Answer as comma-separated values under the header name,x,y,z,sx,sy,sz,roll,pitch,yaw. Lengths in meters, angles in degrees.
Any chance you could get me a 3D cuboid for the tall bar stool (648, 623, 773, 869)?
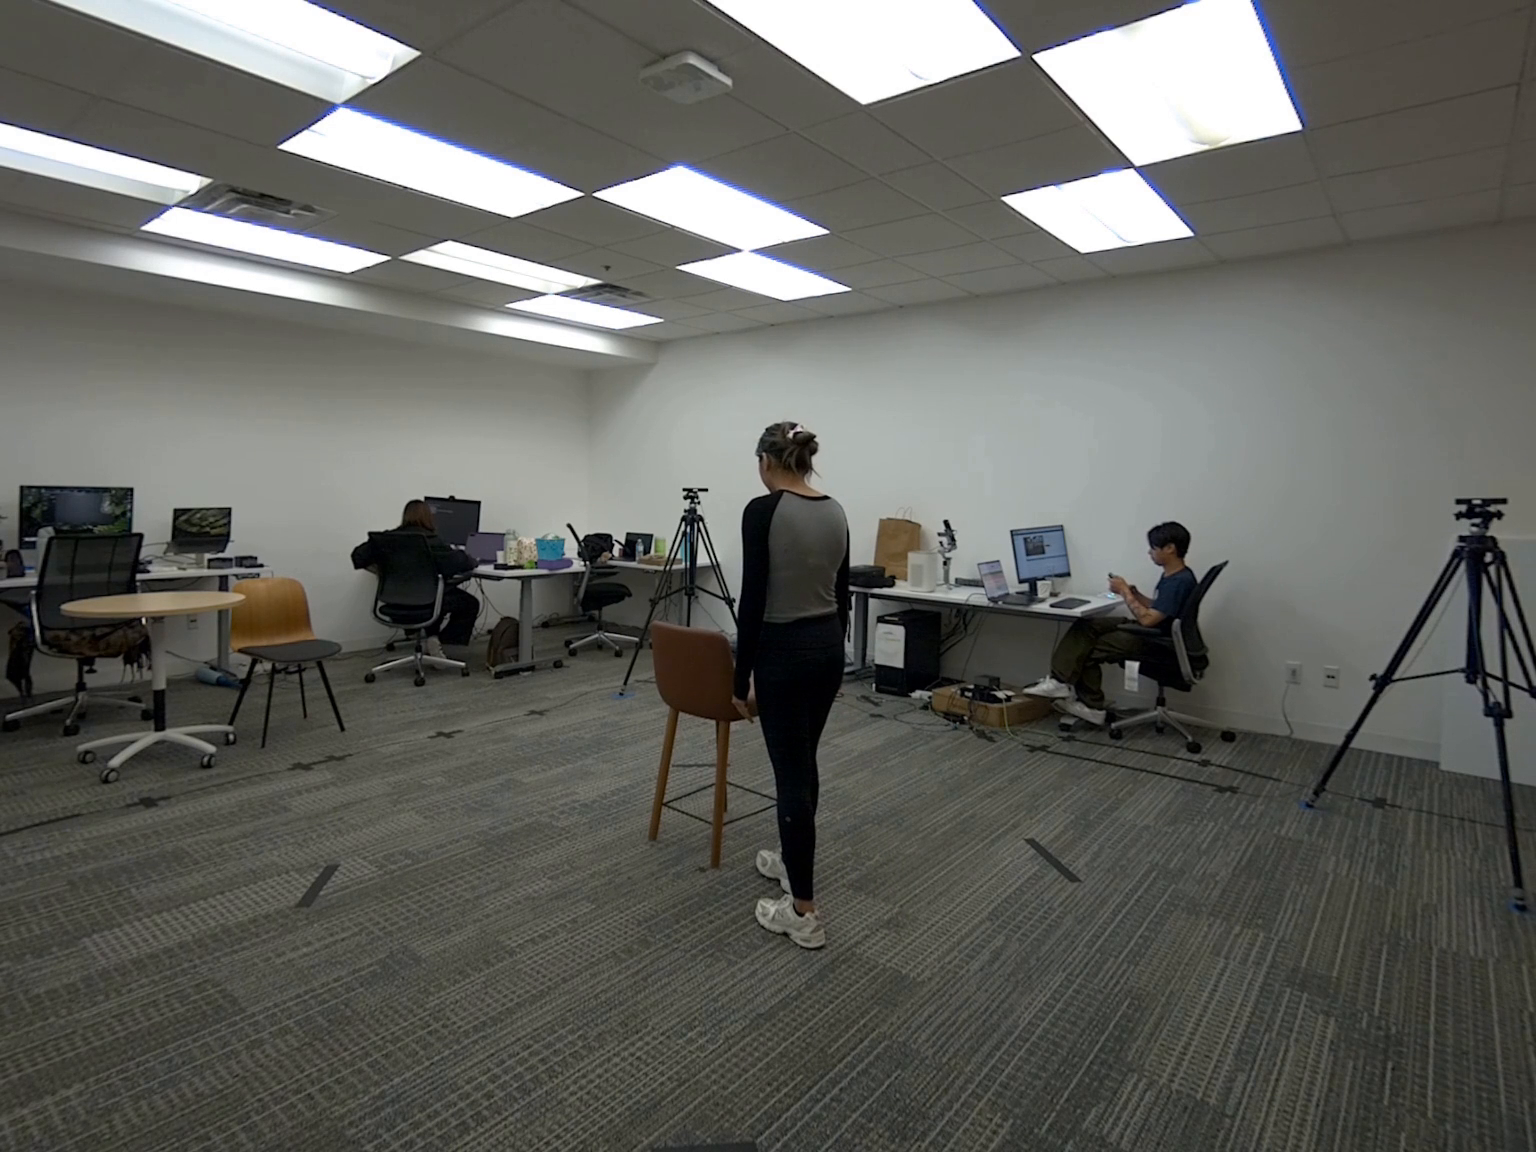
name,x,y,z,sx,sy,sz,roll,pitch,yaw
tall bar stool,-0.197,0.608,3.379,0.472,0.886,0.454,4,6,41
